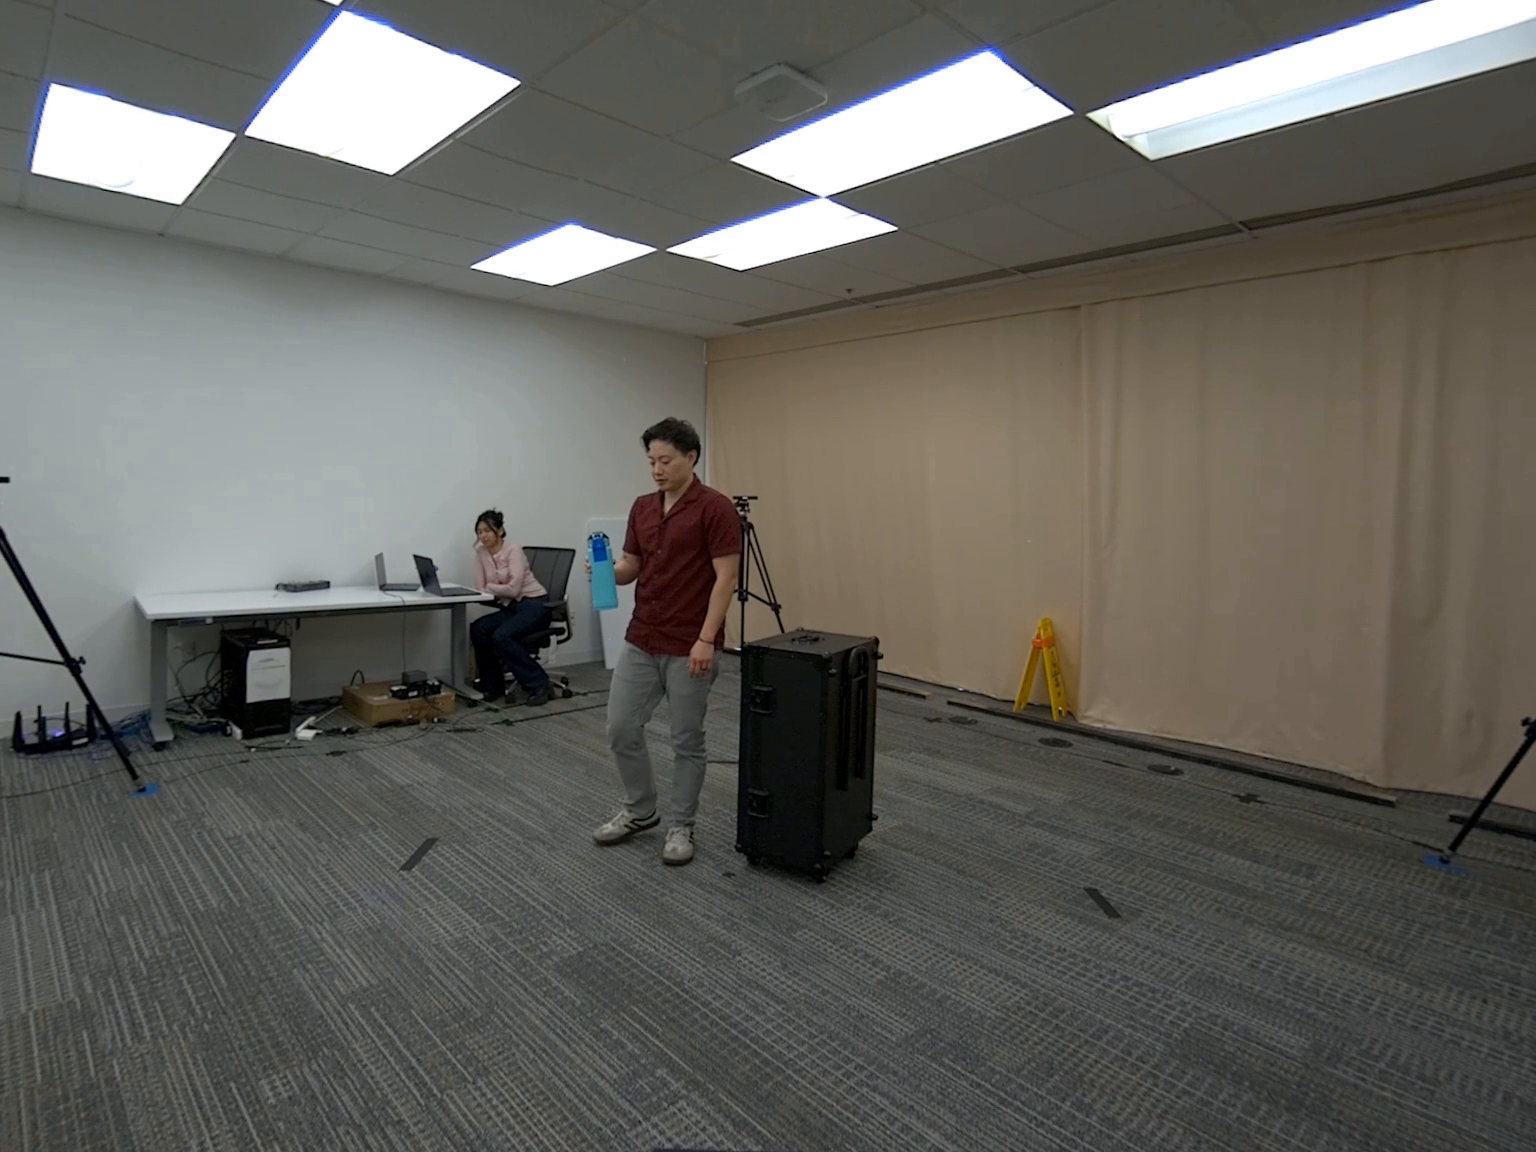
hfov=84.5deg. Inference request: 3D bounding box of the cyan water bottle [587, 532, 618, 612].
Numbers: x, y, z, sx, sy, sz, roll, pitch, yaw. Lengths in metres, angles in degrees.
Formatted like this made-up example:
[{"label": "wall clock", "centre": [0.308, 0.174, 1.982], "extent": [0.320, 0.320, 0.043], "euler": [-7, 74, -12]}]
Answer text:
[{"label": "cyan water bottle", "centre": [-0.618, -0.021, 3.058], "extent": [0.092, 0.283, 0.092], "euler": [-6, 2, -1]}]
